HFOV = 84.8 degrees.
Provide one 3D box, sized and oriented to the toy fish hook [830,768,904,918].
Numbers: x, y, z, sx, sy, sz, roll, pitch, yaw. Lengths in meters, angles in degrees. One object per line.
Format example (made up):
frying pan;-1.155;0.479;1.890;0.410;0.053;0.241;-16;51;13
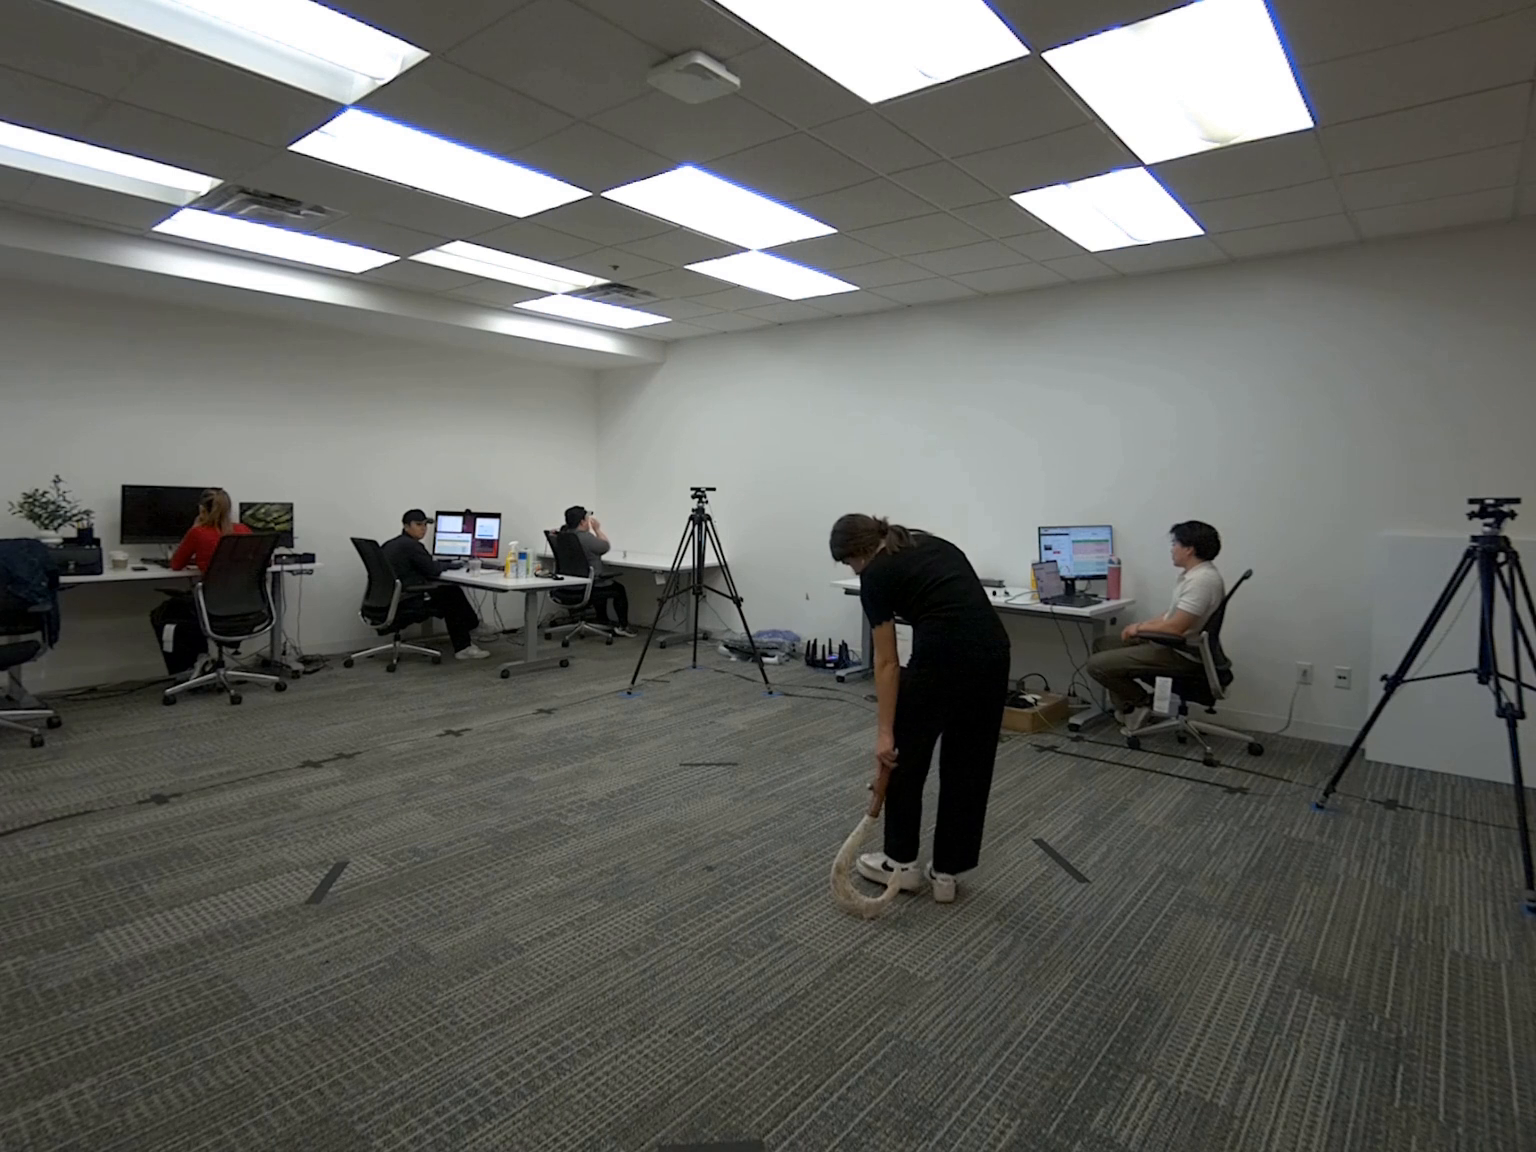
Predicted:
toy fish hook;0.368;0.876;2.856;0.229;0.510;0.047;16;-15;17
